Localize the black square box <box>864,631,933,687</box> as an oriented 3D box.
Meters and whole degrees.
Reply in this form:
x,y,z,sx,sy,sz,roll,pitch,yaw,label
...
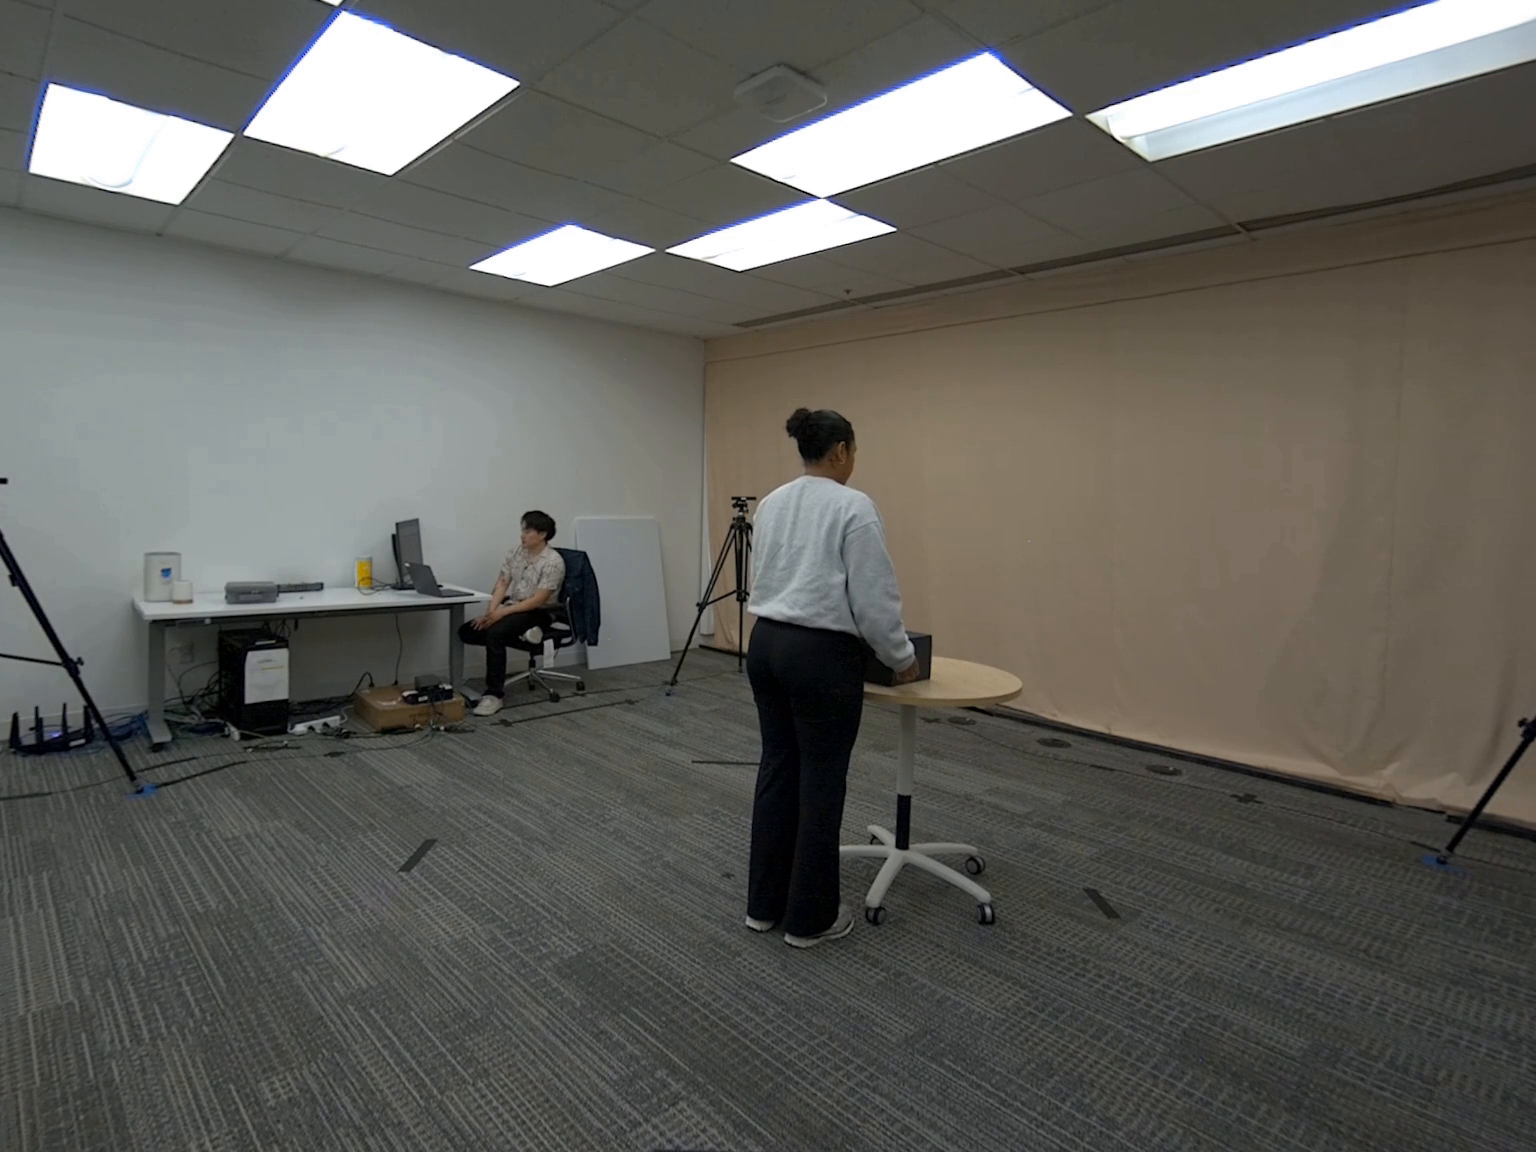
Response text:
x,y,z,sx,sy,sz,roll,pitch,yaw,label
0.411,0.274,2.926,0.222,0.155,0.223,-2,6,-44,black square box
